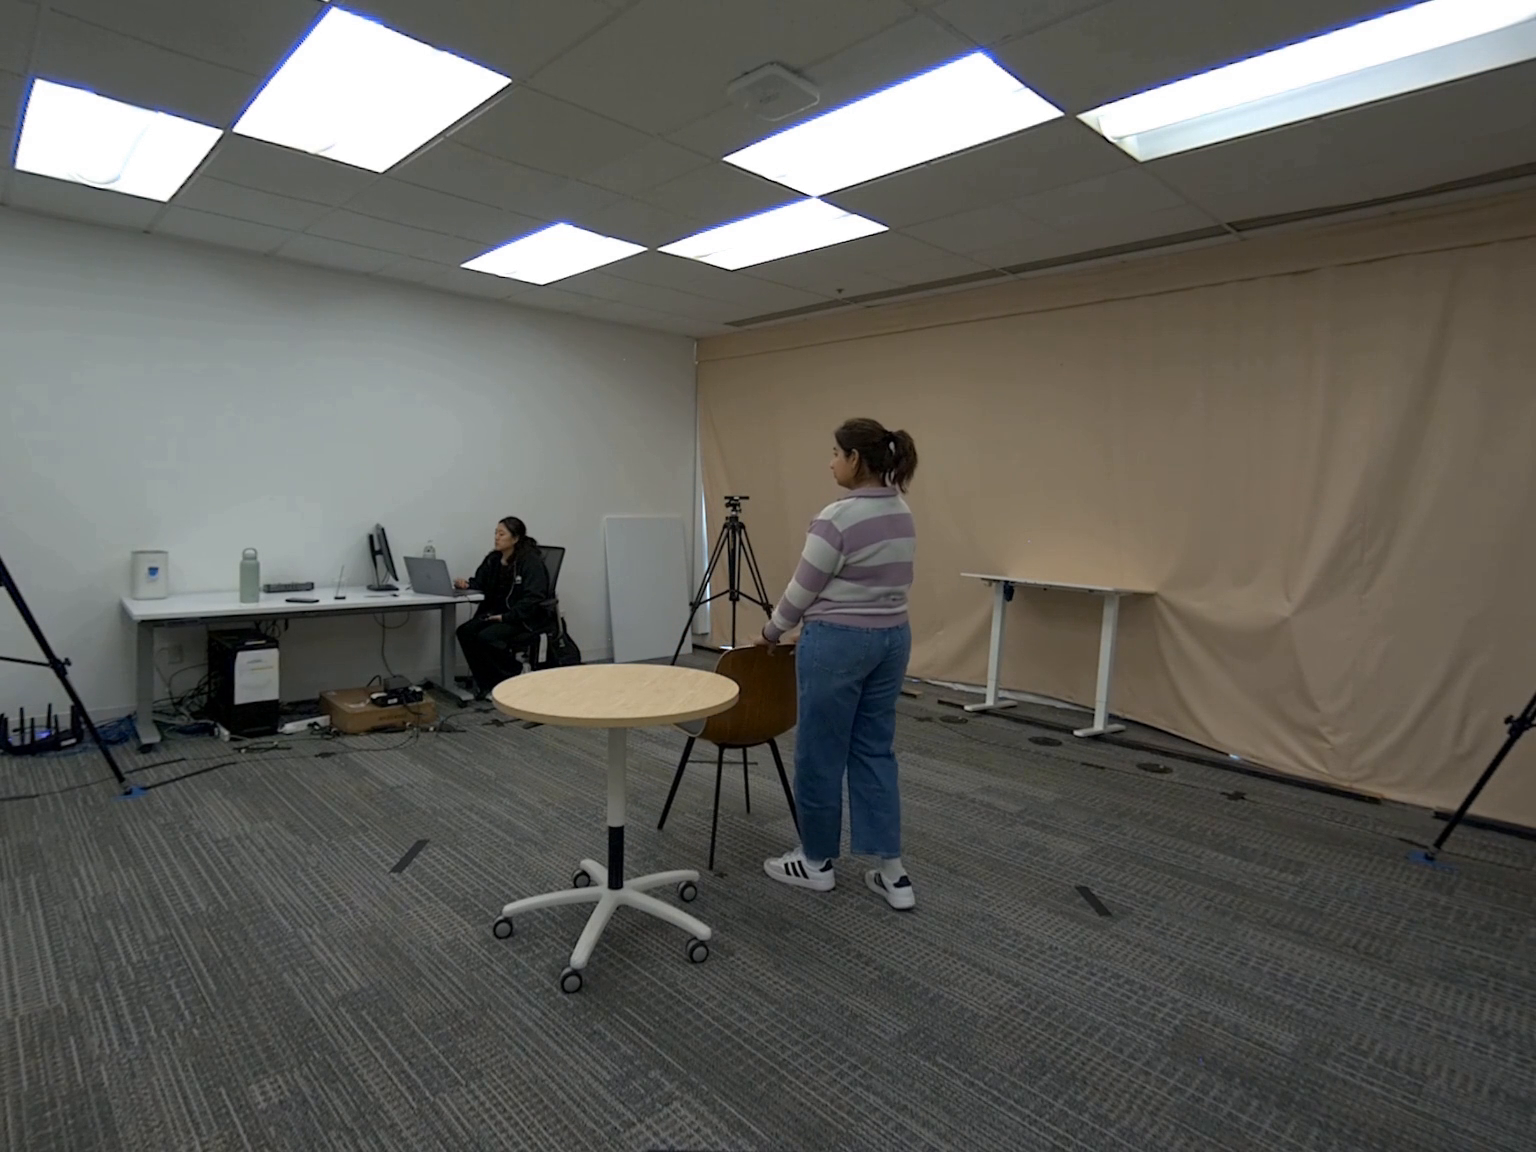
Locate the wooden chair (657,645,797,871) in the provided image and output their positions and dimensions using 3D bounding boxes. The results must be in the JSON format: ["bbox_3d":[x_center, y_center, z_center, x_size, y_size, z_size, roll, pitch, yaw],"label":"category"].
[{"bbox_3d":[-0.147,0.650,3.414,0.468,0.873,0.537,-1,8,-32],"label":"wooden chair"}]
